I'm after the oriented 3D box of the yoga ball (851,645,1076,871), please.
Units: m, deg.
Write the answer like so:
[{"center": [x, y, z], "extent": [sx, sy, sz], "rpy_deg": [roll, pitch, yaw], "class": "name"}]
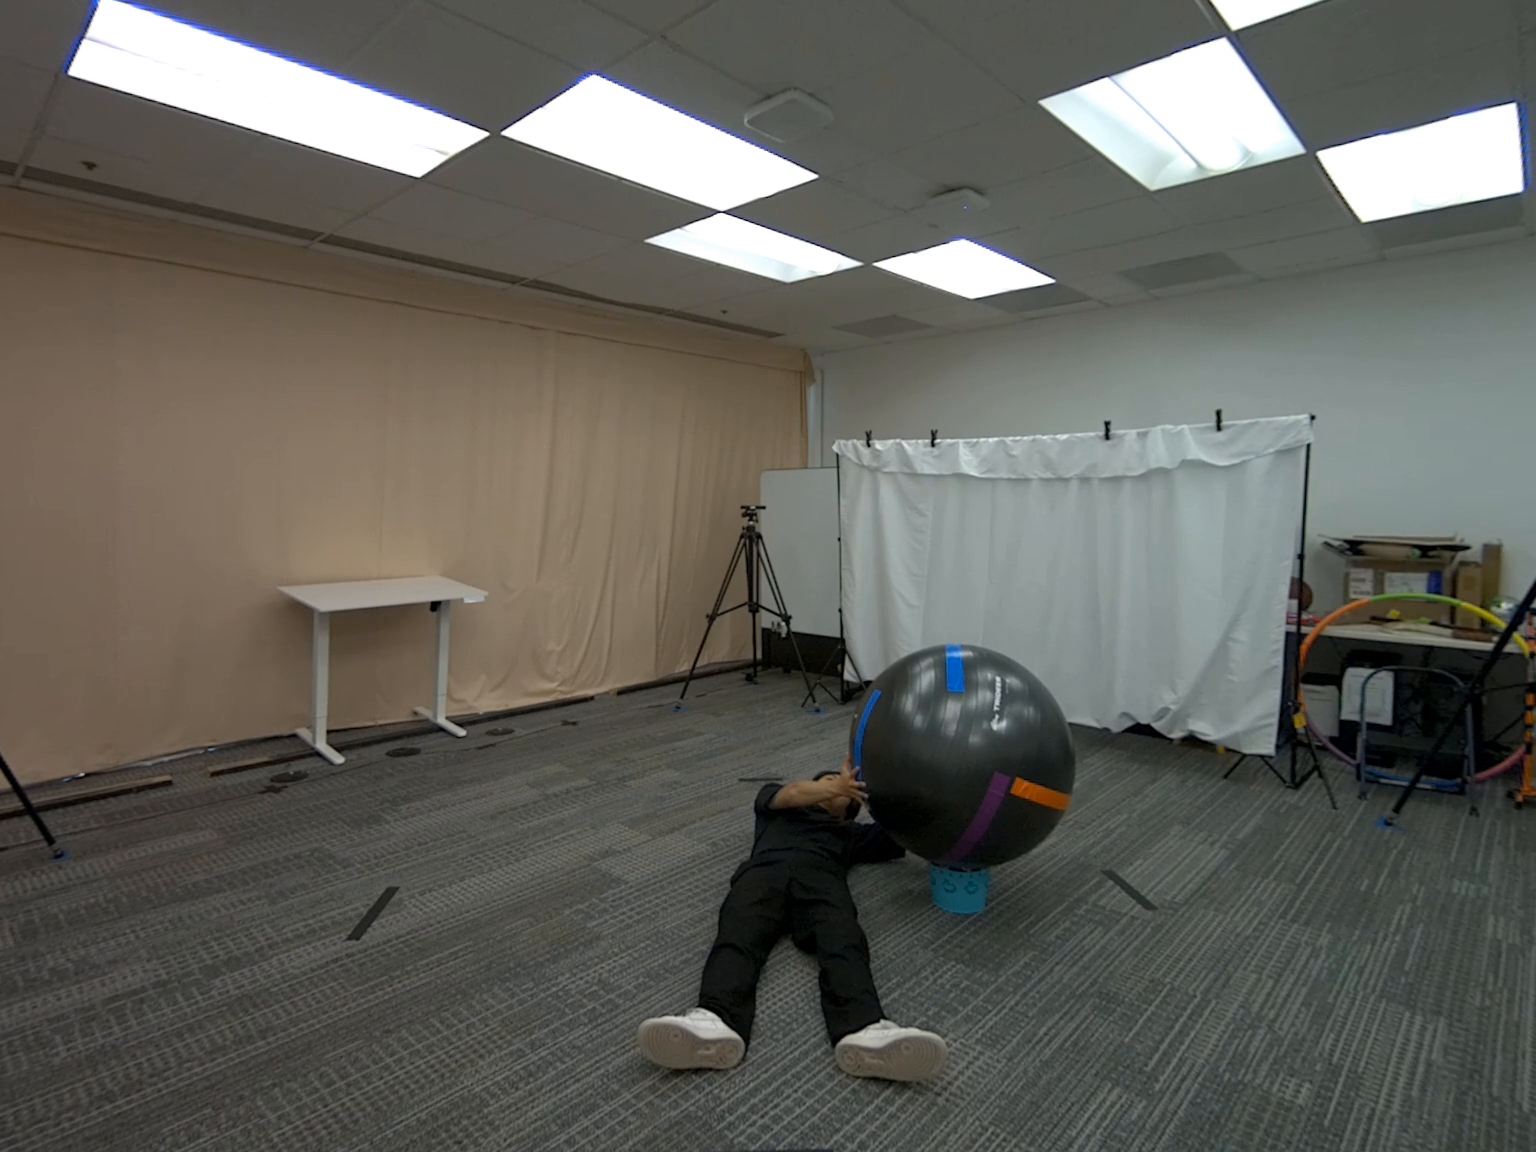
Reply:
[{"center": [0.668, 0.625, 2.950], "extent": [0.757, 0.756, 0.760], "rpy_deg": [0, 4, -2], "class": "yoga ball"}]
